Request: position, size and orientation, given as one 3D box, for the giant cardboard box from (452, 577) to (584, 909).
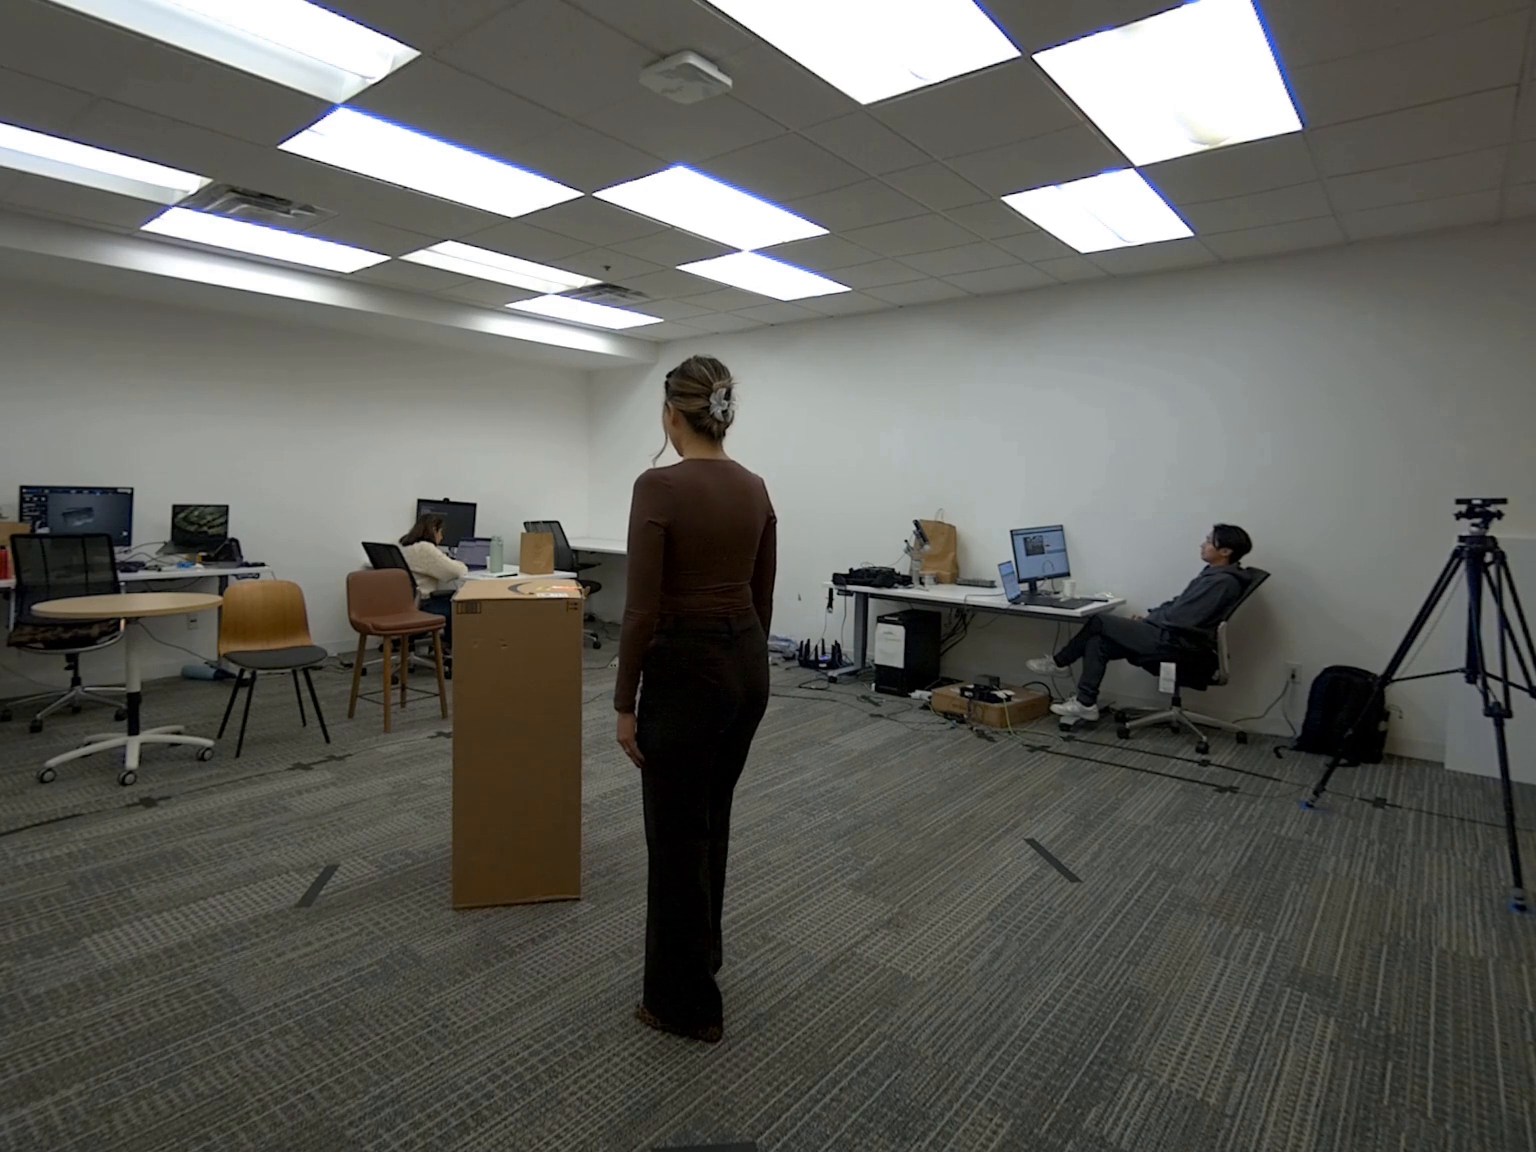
[{"bbox_3d":[-0.913,0.552,3.078,0.440,1.024,0.595,0,3,-16],"label":"giant cardboard box"}]
